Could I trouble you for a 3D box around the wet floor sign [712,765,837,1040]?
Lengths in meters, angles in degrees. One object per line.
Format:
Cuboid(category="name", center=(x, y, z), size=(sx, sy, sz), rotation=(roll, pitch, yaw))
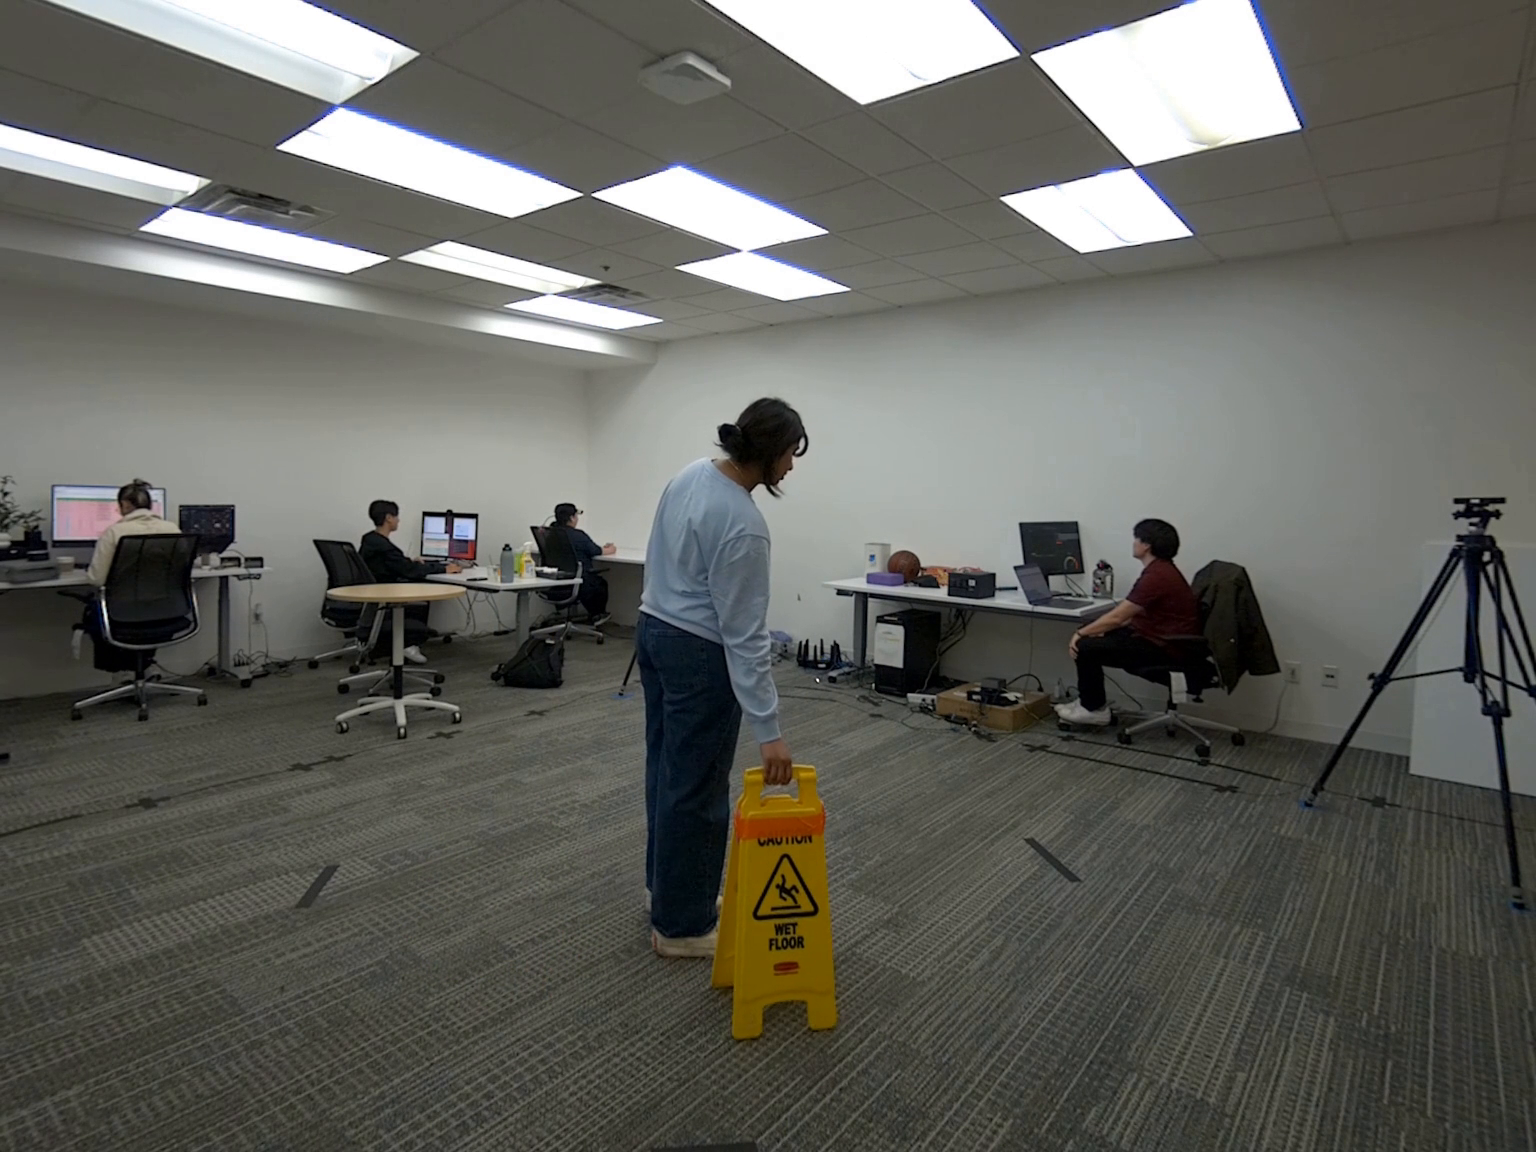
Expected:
Cuboid(category="wet floor sign", center=(0.010, 0.826, 2.274), size=(0.278, 0.645, 0.295), rotation=(2, 1, -16))
